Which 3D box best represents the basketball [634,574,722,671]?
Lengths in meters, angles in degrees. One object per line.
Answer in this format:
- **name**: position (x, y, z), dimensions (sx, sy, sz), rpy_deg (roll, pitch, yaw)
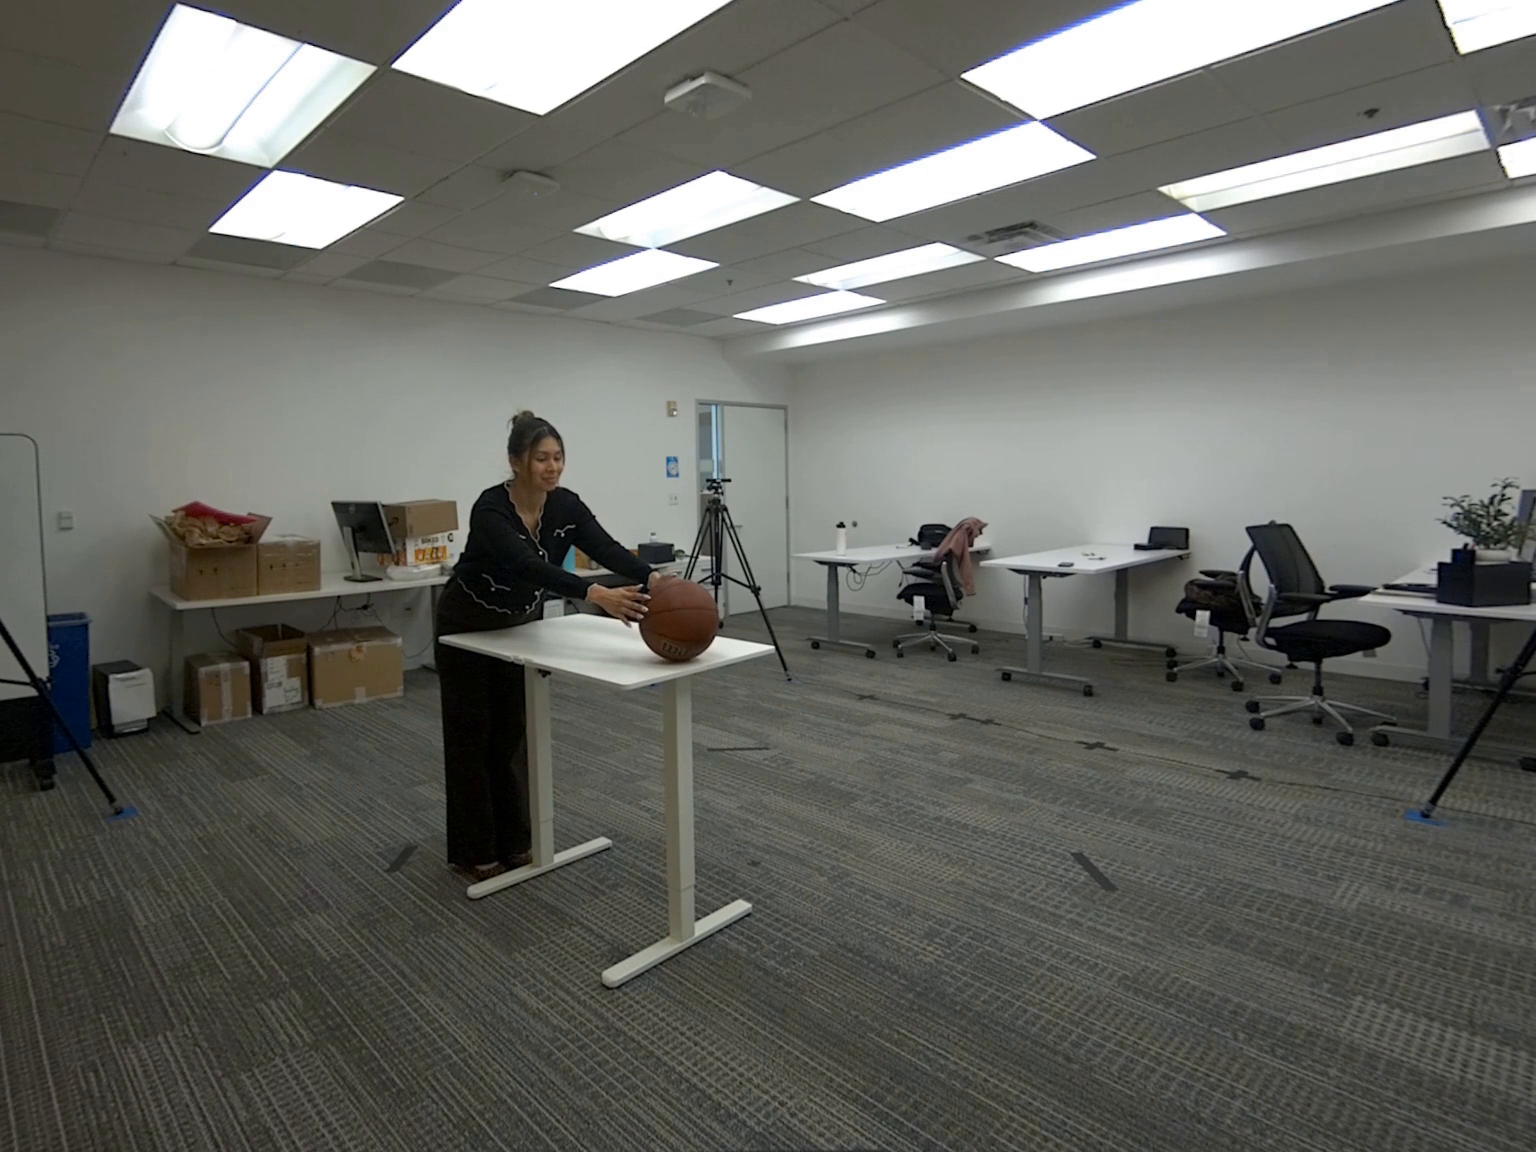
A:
- **basketball**: position (-0.257, 0.126, 2.468), dimensions (0.236, 0.235, 0.237), rpy_deg (-1, 5, -2)
